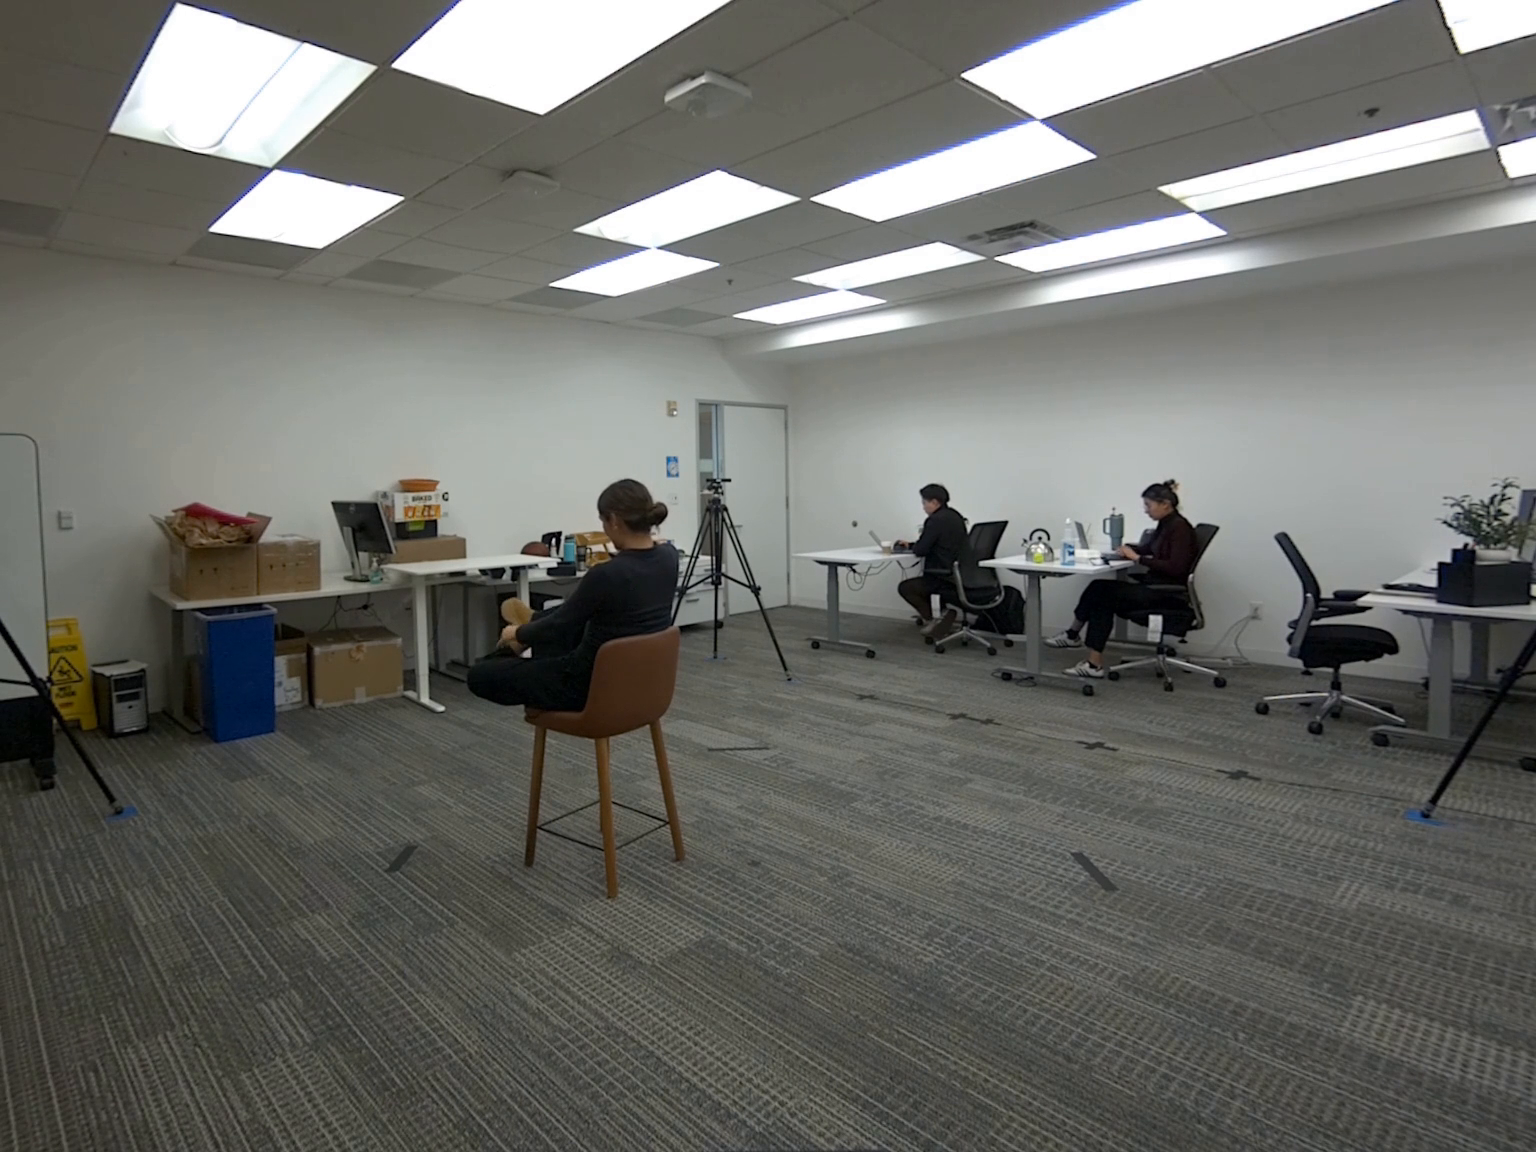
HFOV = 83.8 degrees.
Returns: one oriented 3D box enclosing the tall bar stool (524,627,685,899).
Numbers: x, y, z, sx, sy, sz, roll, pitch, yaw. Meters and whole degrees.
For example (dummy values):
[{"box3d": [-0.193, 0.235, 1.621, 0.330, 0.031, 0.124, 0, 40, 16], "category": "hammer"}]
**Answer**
[{"box3d": [-0.593, 0.620, 3.109, 0.482, 0.885, 0.445, 5, 7, 37], "category": "tall bar stool"}]
